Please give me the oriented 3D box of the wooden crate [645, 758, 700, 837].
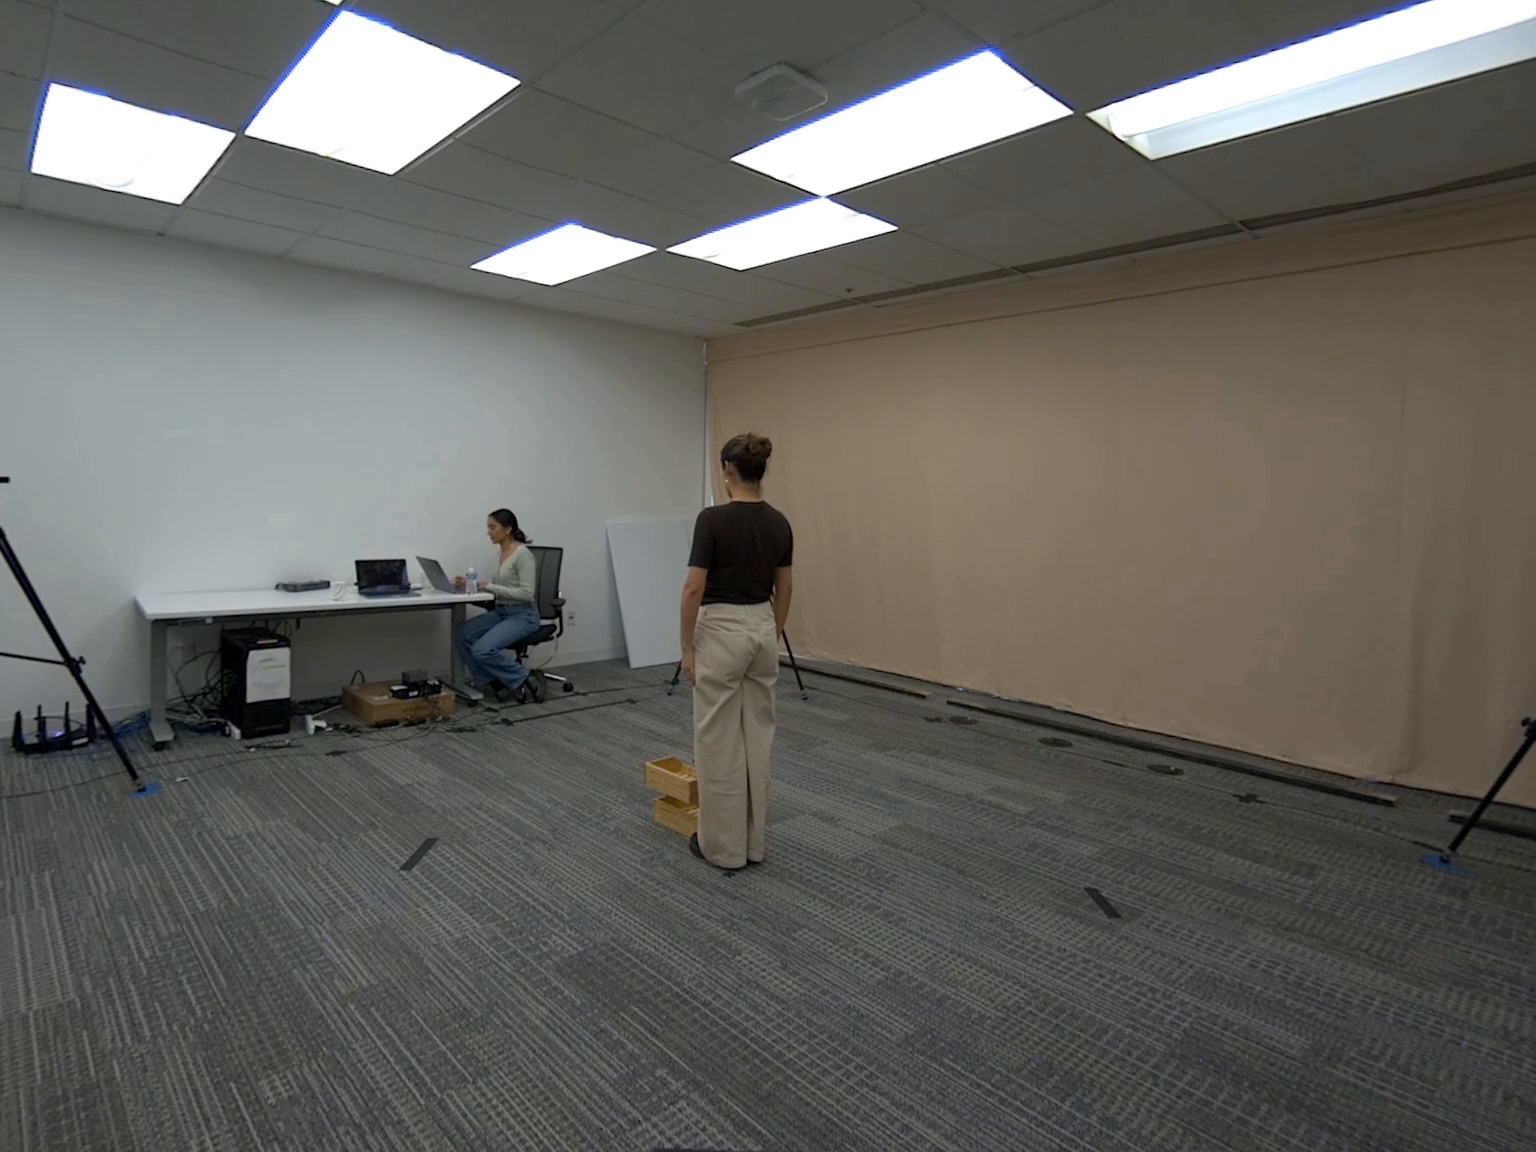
[{"bbox_3d":[-0.321,0.923,3.564,0.295,0.272,0.333,-4,7,-44],"label":"wooden crate"}]
